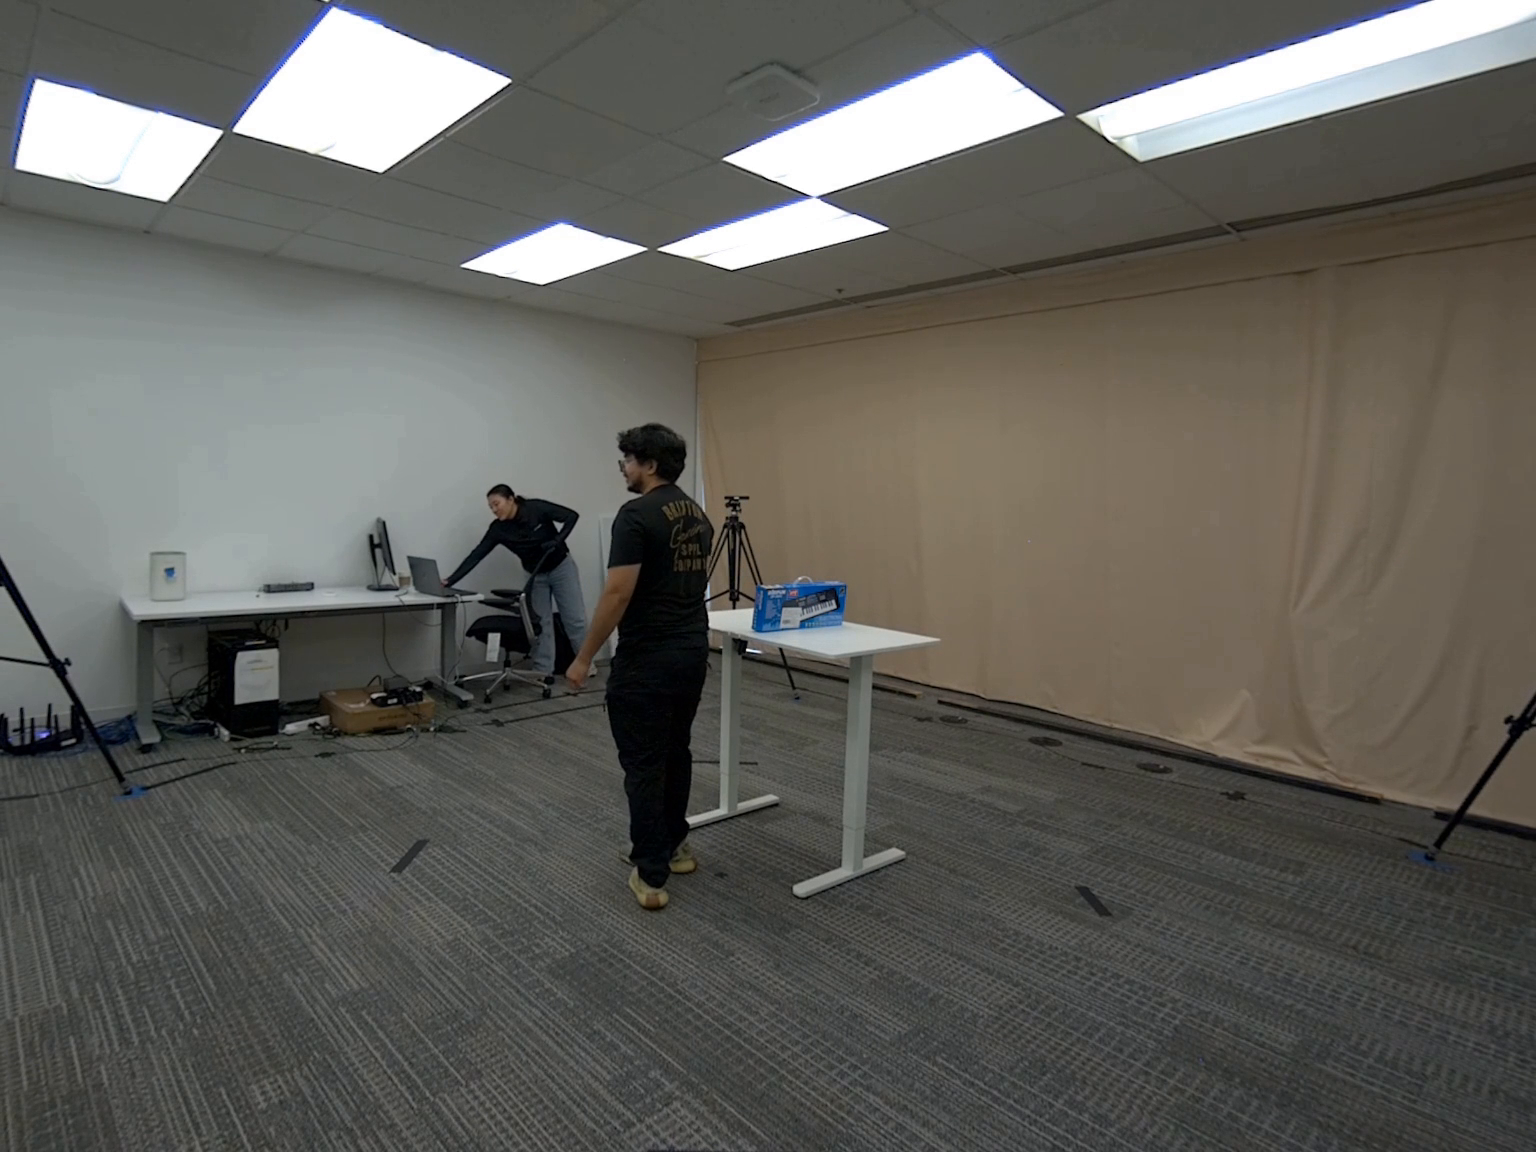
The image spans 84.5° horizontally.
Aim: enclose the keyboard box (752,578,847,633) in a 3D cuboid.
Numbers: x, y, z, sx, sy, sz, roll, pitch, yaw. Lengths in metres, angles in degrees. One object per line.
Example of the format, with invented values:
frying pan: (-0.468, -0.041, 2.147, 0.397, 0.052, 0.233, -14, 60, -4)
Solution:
keyboard box: (0.125, 0.121, 3.327, 0.427, 0.175, 0.061, -2, 12, -39)
